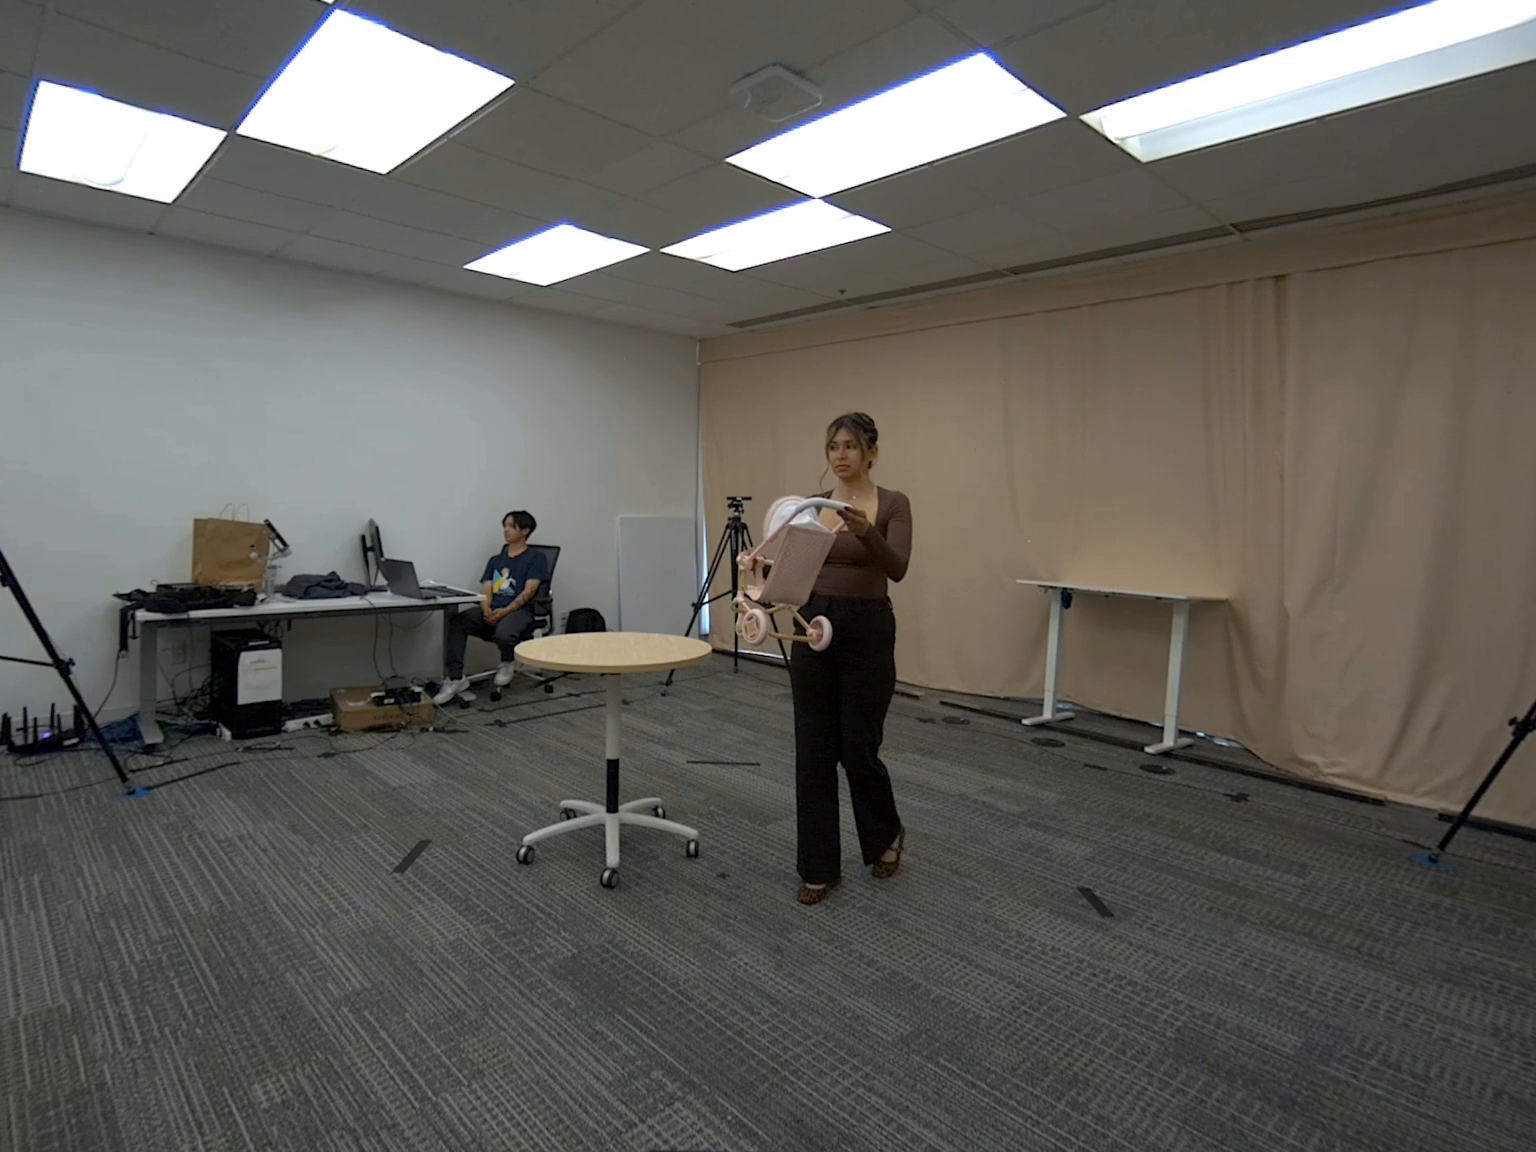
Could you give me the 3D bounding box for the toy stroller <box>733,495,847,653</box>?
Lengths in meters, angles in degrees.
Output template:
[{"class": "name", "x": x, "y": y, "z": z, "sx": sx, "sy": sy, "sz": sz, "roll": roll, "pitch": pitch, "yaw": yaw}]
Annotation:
[{"class": "toy stroller", "x": 0.047, "y": -0.008, "z": 2.631, "sx": 0.275, "sy": 0.532, "sz": 0.351, "roll": 9, "pitch": 12, "yaw": -31}]
